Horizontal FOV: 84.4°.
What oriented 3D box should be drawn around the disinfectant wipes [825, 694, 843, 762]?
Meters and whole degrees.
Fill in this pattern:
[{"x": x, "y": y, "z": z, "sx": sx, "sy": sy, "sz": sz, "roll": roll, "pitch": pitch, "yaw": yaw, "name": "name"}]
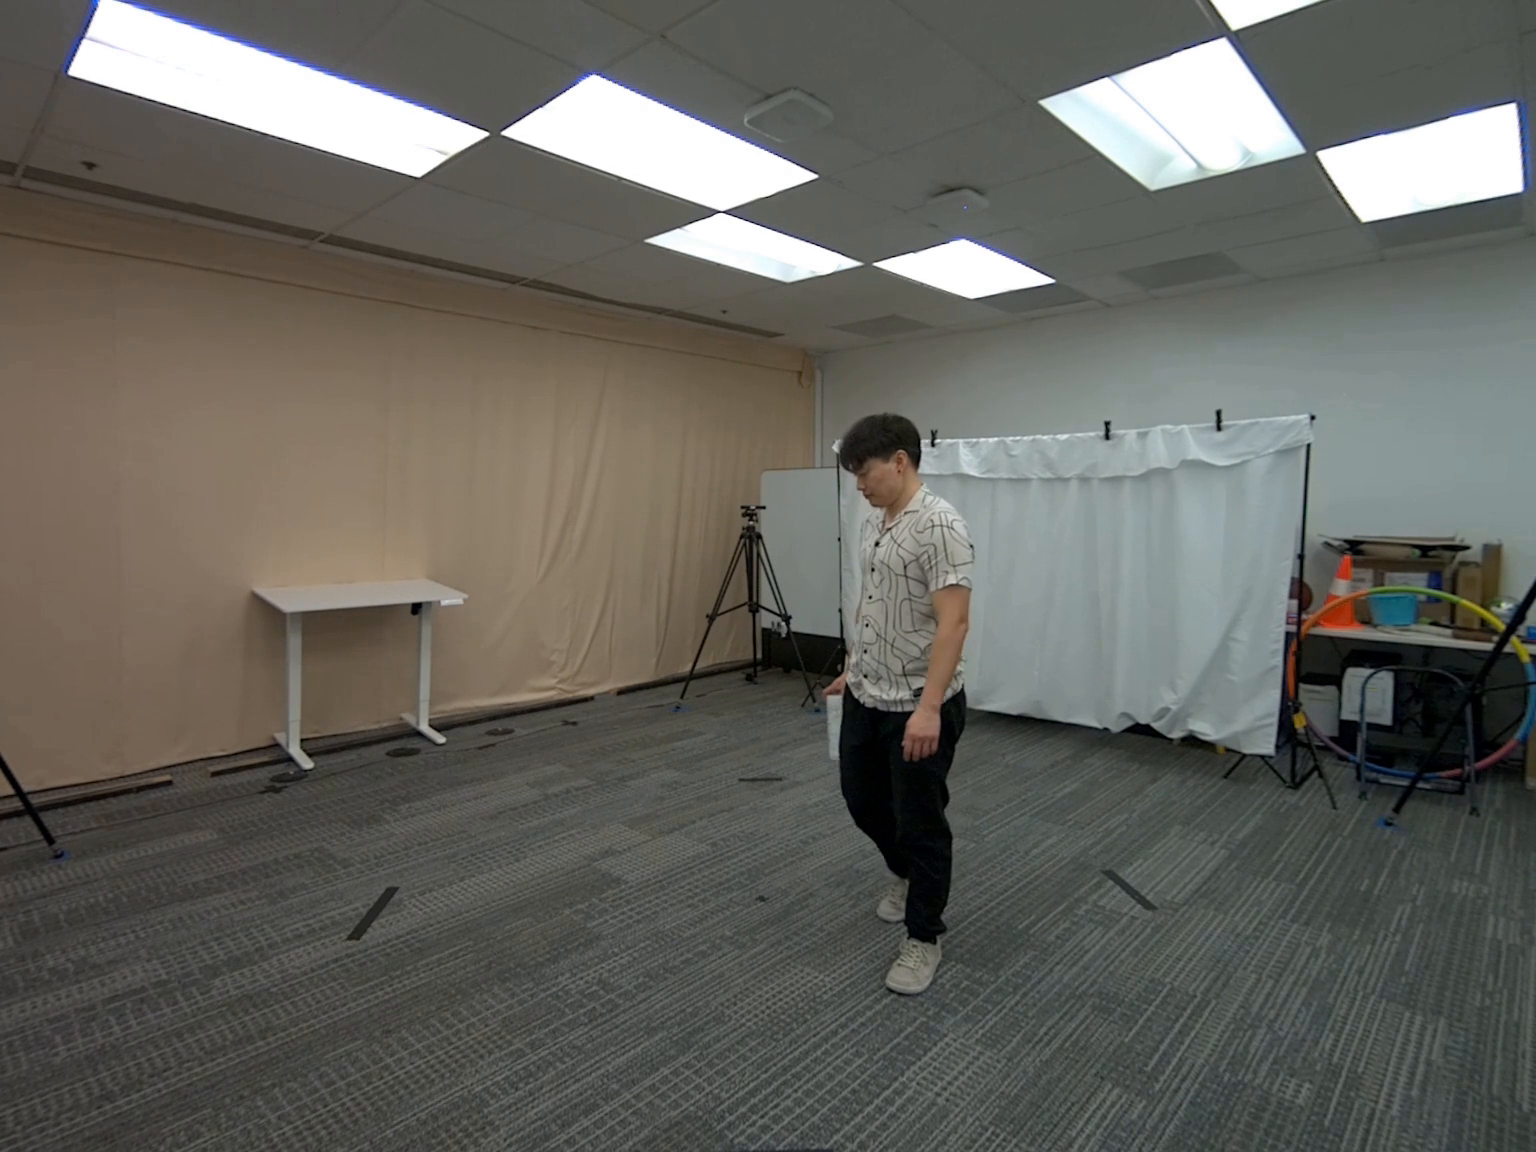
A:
[{"x": 0.269, "y": 0.513, "z": 2.837, "sx": 0.117, "sy": 0.218, "sz": 0.117, "roll": -3, "pitch": -5, "yaw": -2, "name": "disinfectant wipes"}]
